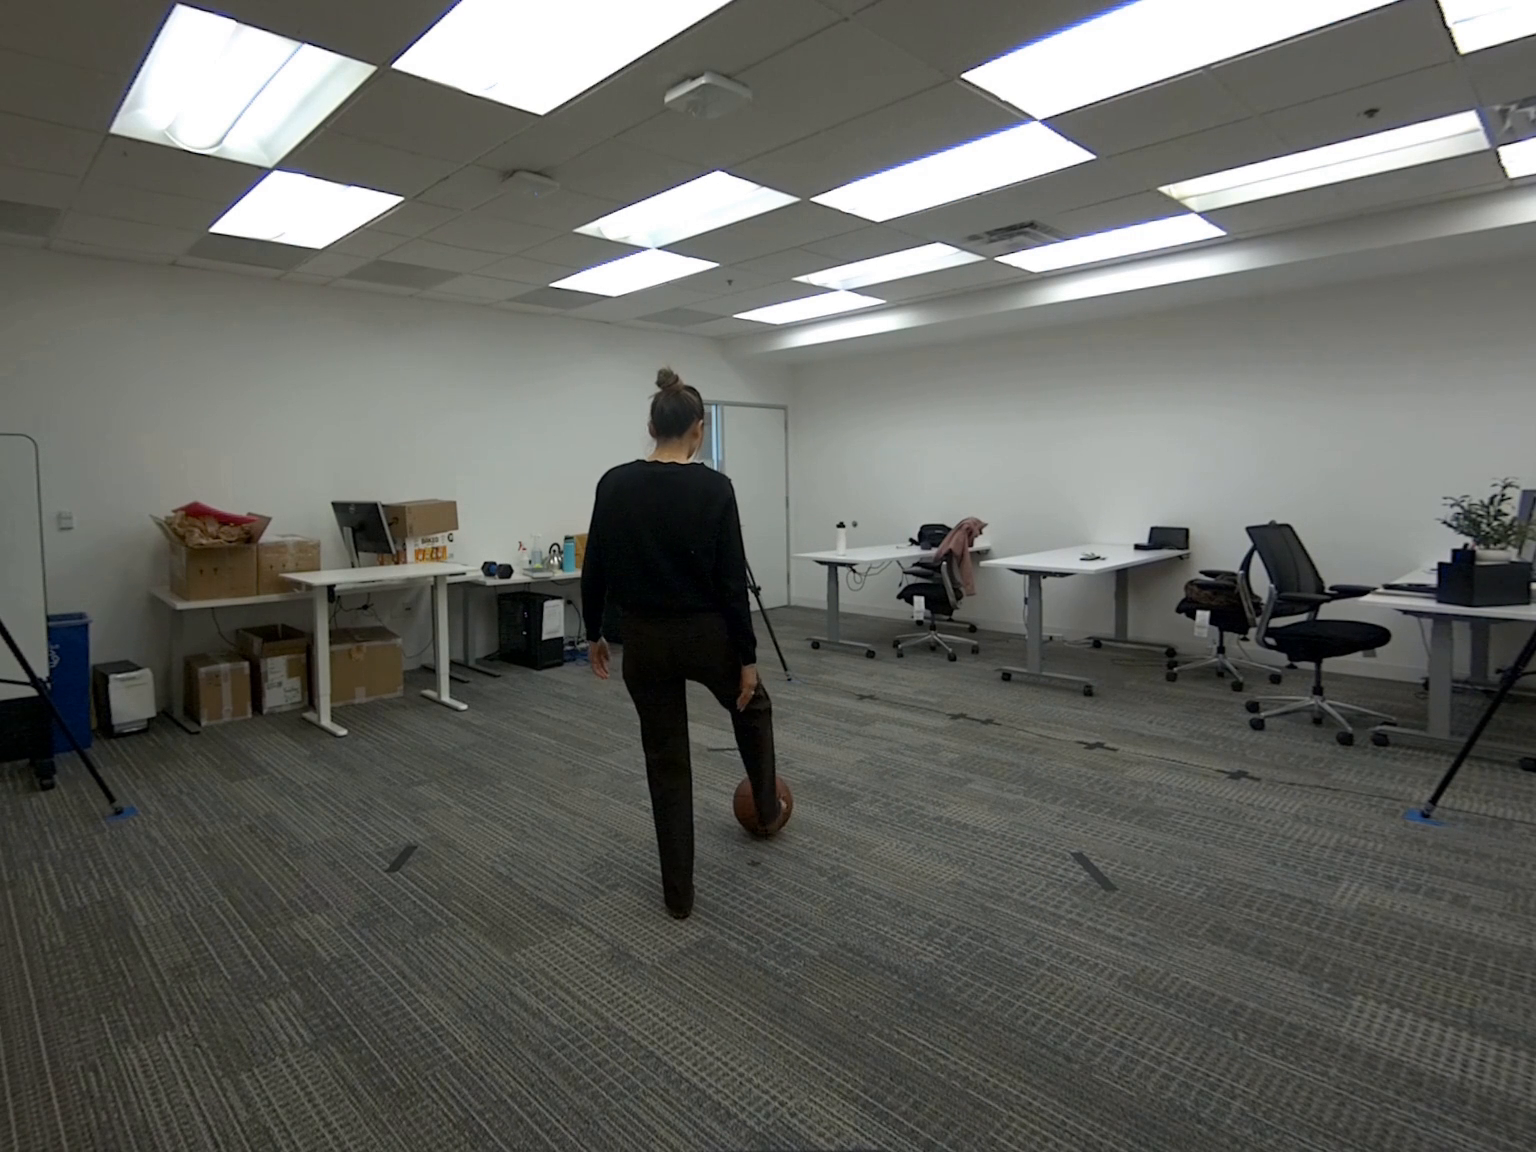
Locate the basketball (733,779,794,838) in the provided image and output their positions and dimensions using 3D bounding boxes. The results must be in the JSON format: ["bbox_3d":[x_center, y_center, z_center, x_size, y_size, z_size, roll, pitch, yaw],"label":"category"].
[{"bbox_3d":[-0.020,0.895,3.368,0.236,0.235,0.237,-1,5,-2],"label":"basketball"}]
